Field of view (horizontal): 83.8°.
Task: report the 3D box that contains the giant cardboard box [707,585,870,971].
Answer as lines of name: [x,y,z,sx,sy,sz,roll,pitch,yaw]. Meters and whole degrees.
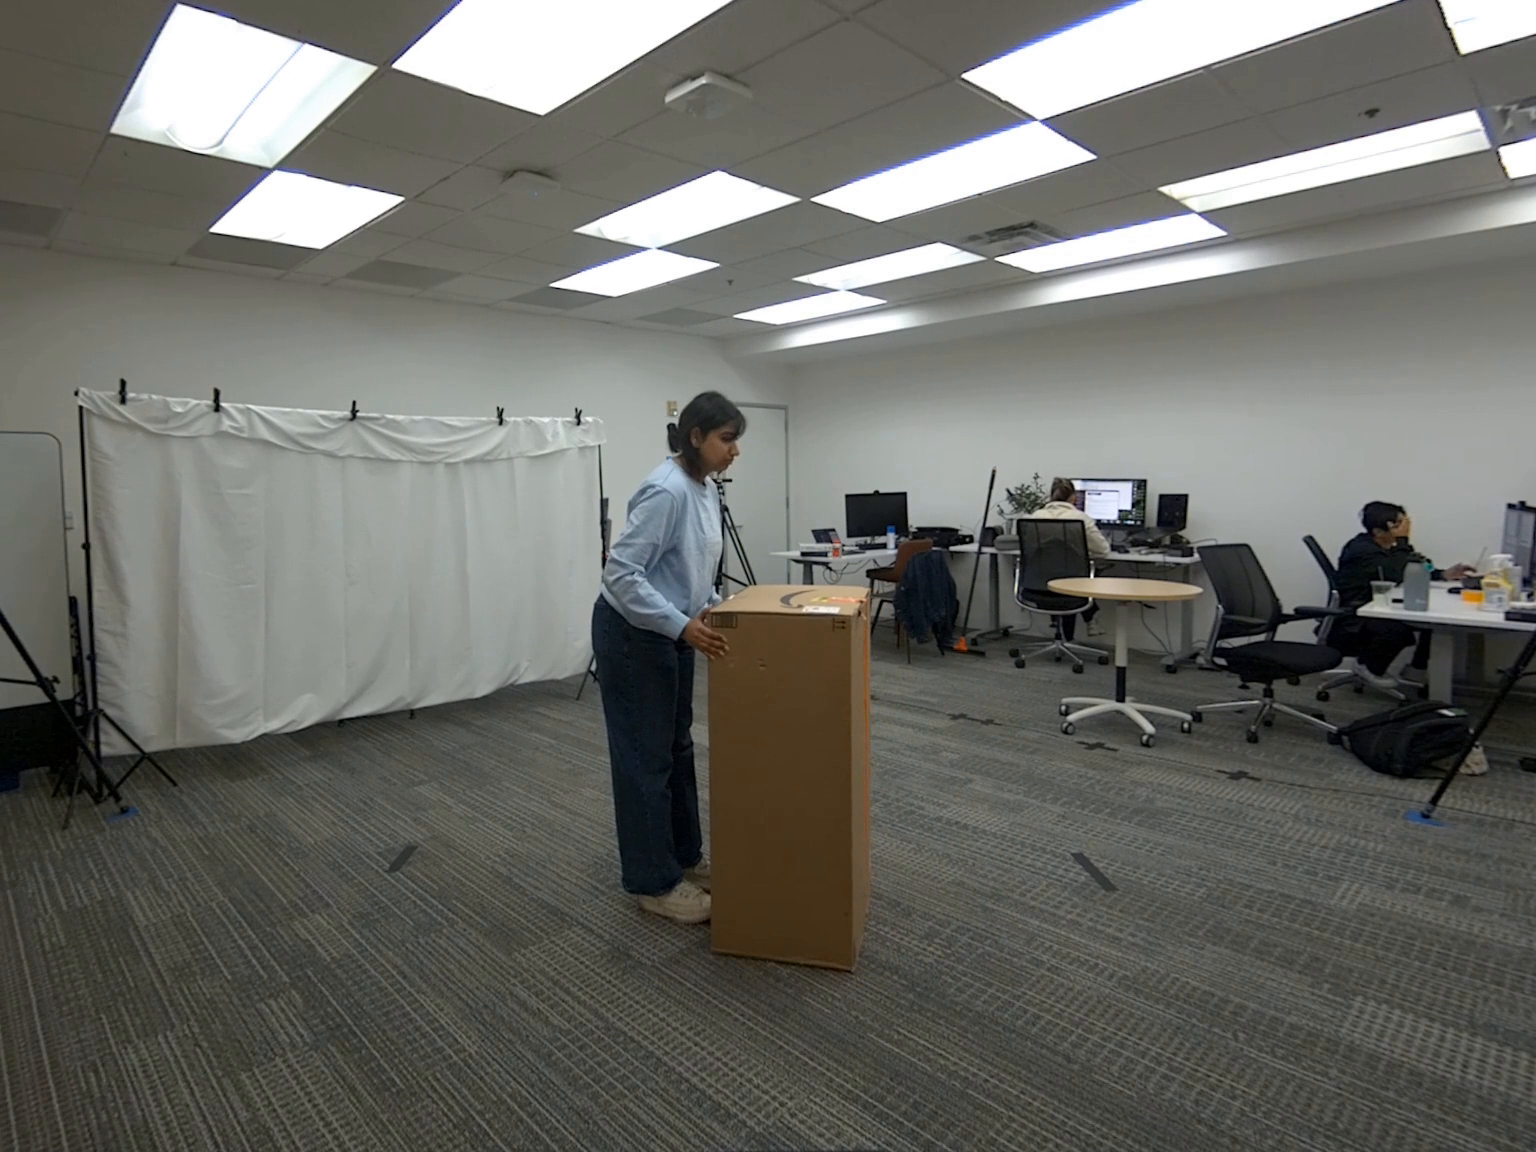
giant cardboard box: [0.093,0.578,2.710,0.432,1.022,0.572,0,4,12]
